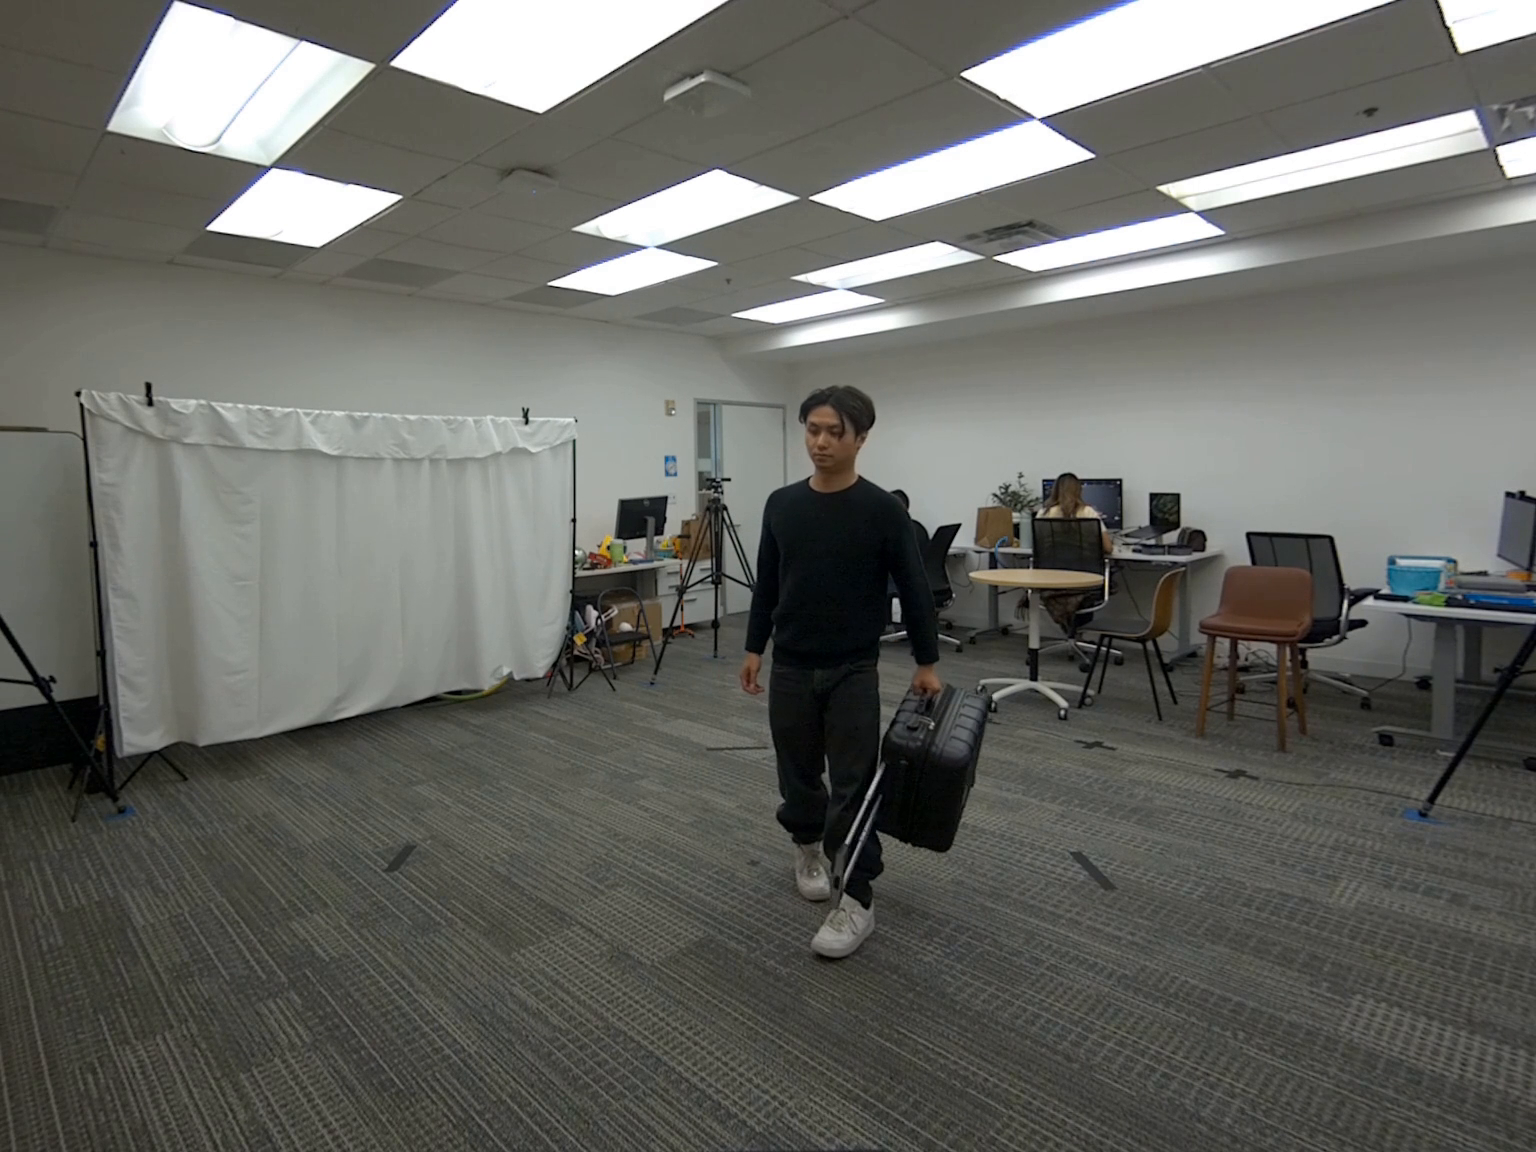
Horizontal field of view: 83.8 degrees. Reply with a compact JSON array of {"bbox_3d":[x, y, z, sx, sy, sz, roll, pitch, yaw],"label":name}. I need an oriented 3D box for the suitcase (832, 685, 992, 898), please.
[{"bbox_3d":[0.458,0.626,2.477,0.262,0.379,0.973,11,18,16],"label":"suitcase"}]
